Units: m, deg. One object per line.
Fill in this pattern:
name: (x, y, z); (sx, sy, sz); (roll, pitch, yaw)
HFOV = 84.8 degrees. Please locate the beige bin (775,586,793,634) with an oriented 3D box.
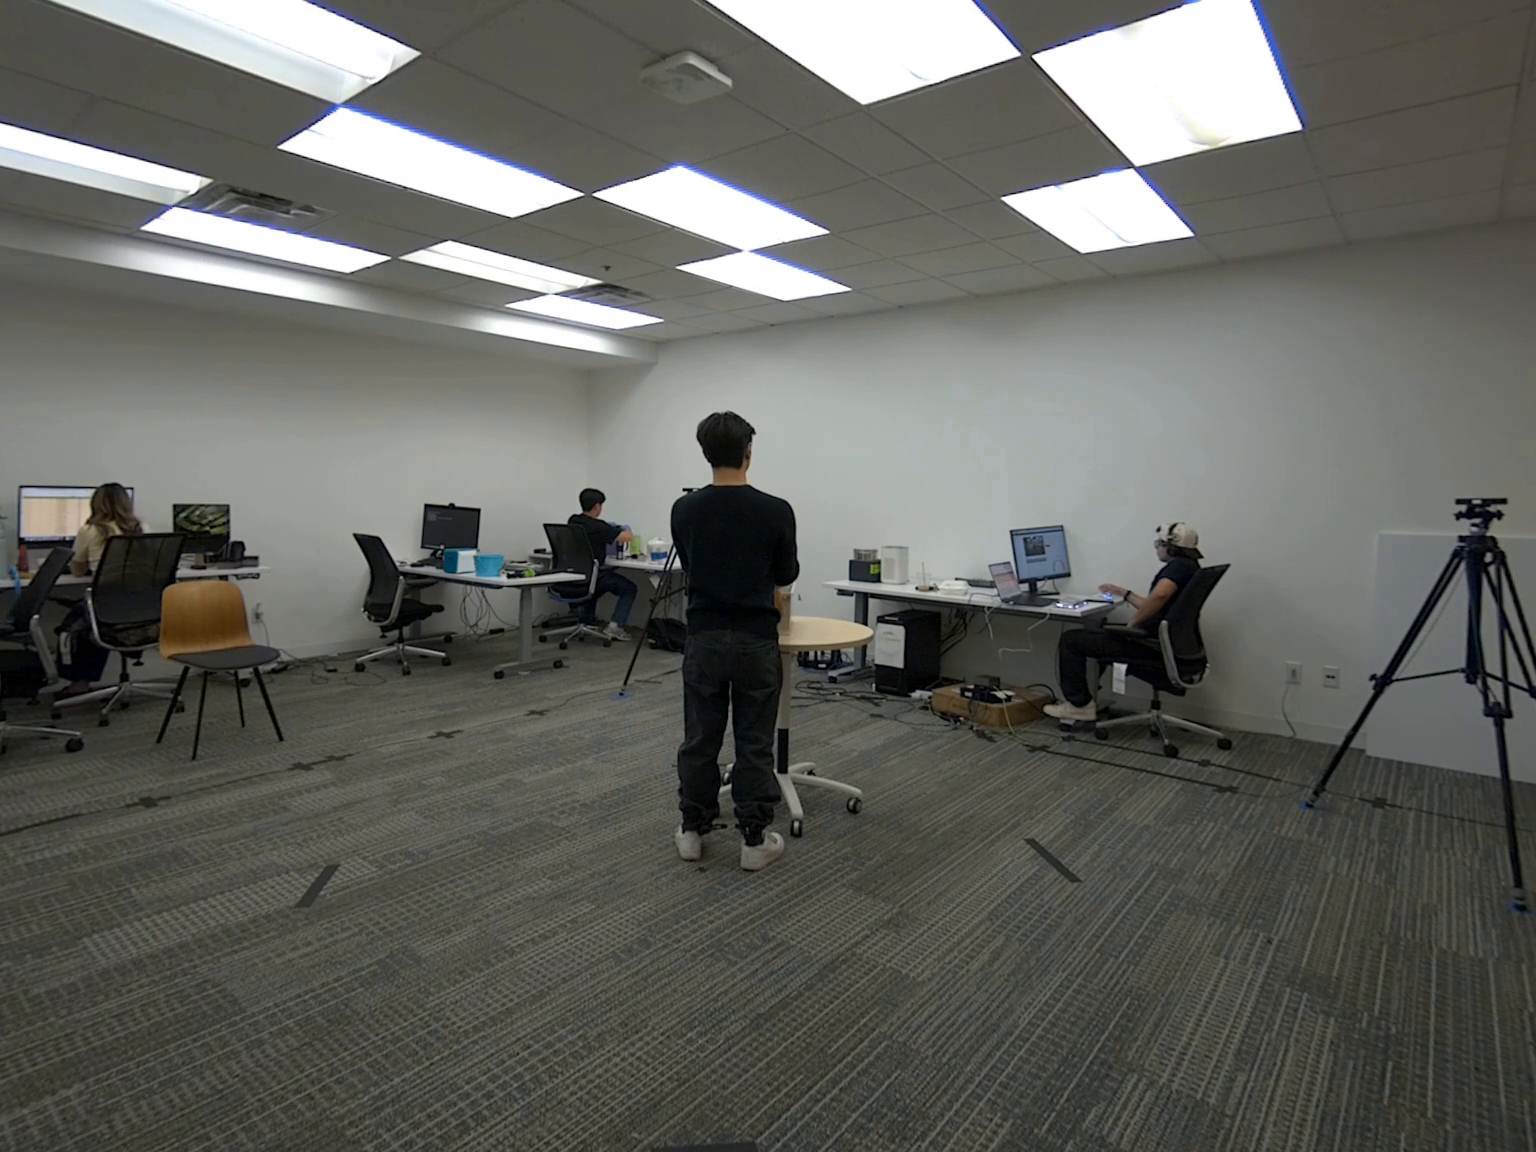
beige bin: (-0.081, 0.132, 3.793); (0.379, 0.188, 0.422); (2, 5, 3)
